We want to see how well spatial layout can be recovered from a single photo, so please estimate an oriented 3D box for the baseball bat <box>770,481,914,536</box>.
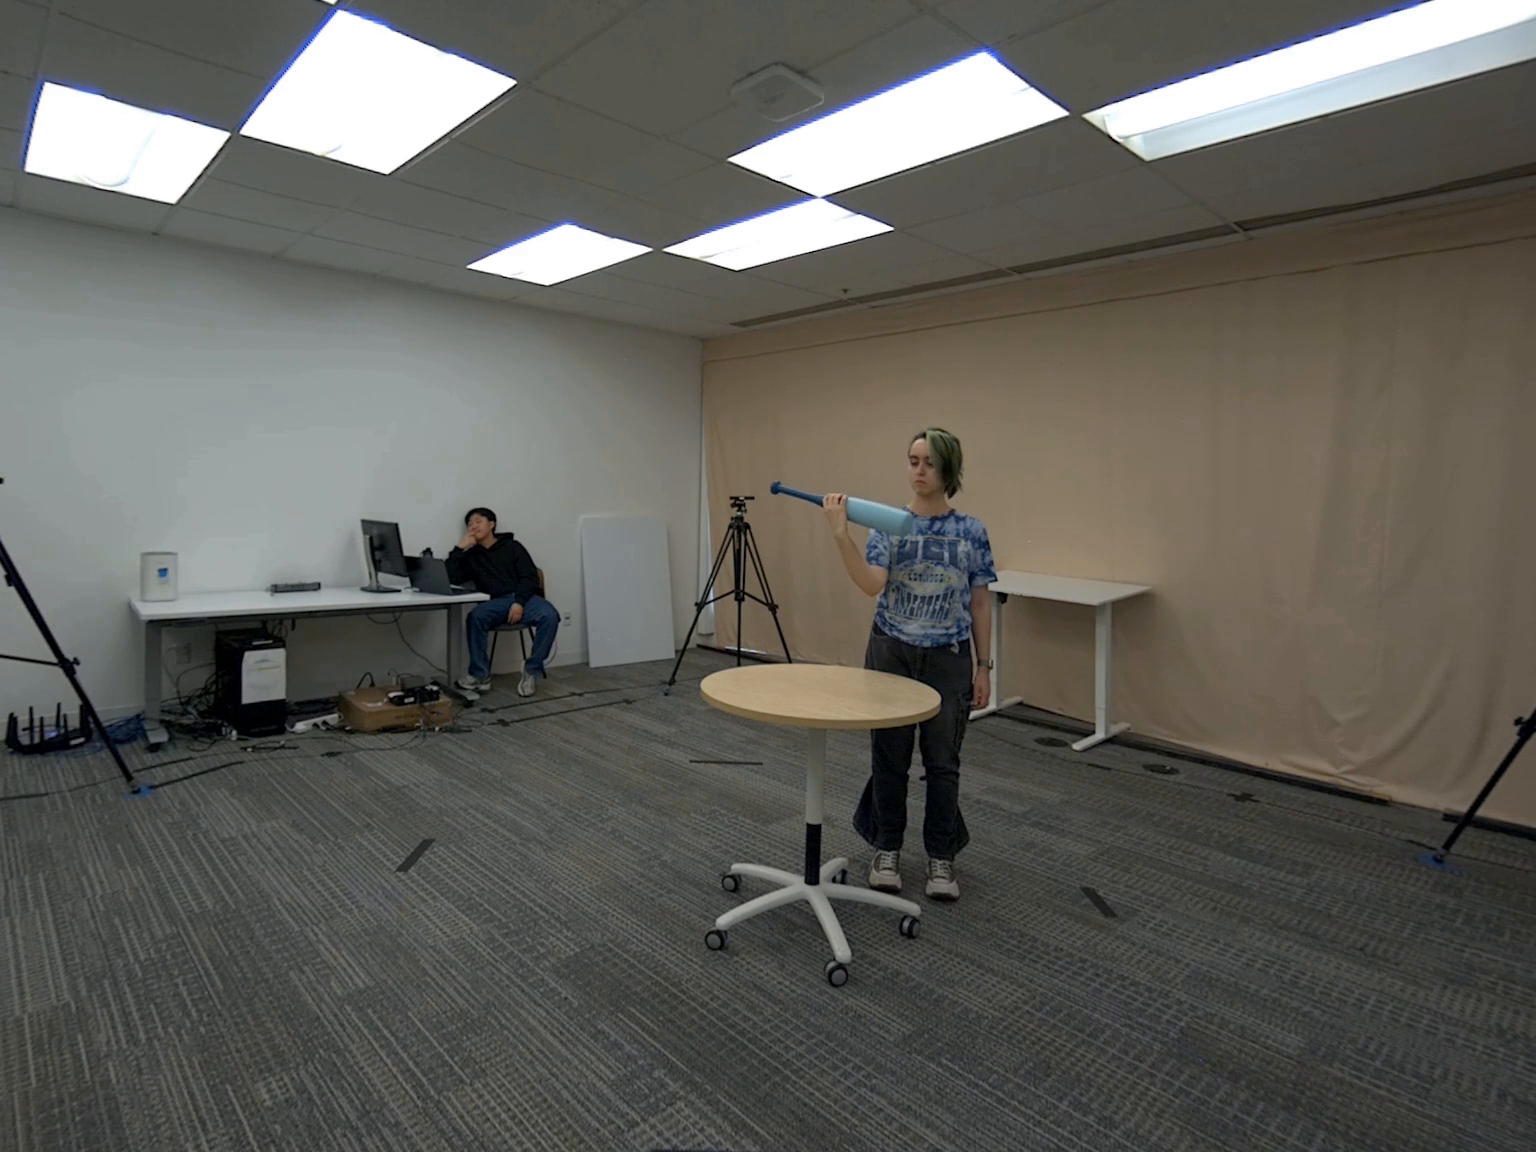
[{"bbox_3d":[0.235,-0.238,2.877,0.557,0.088,0.087,20,13,30],"label":"baseball bat"}]
